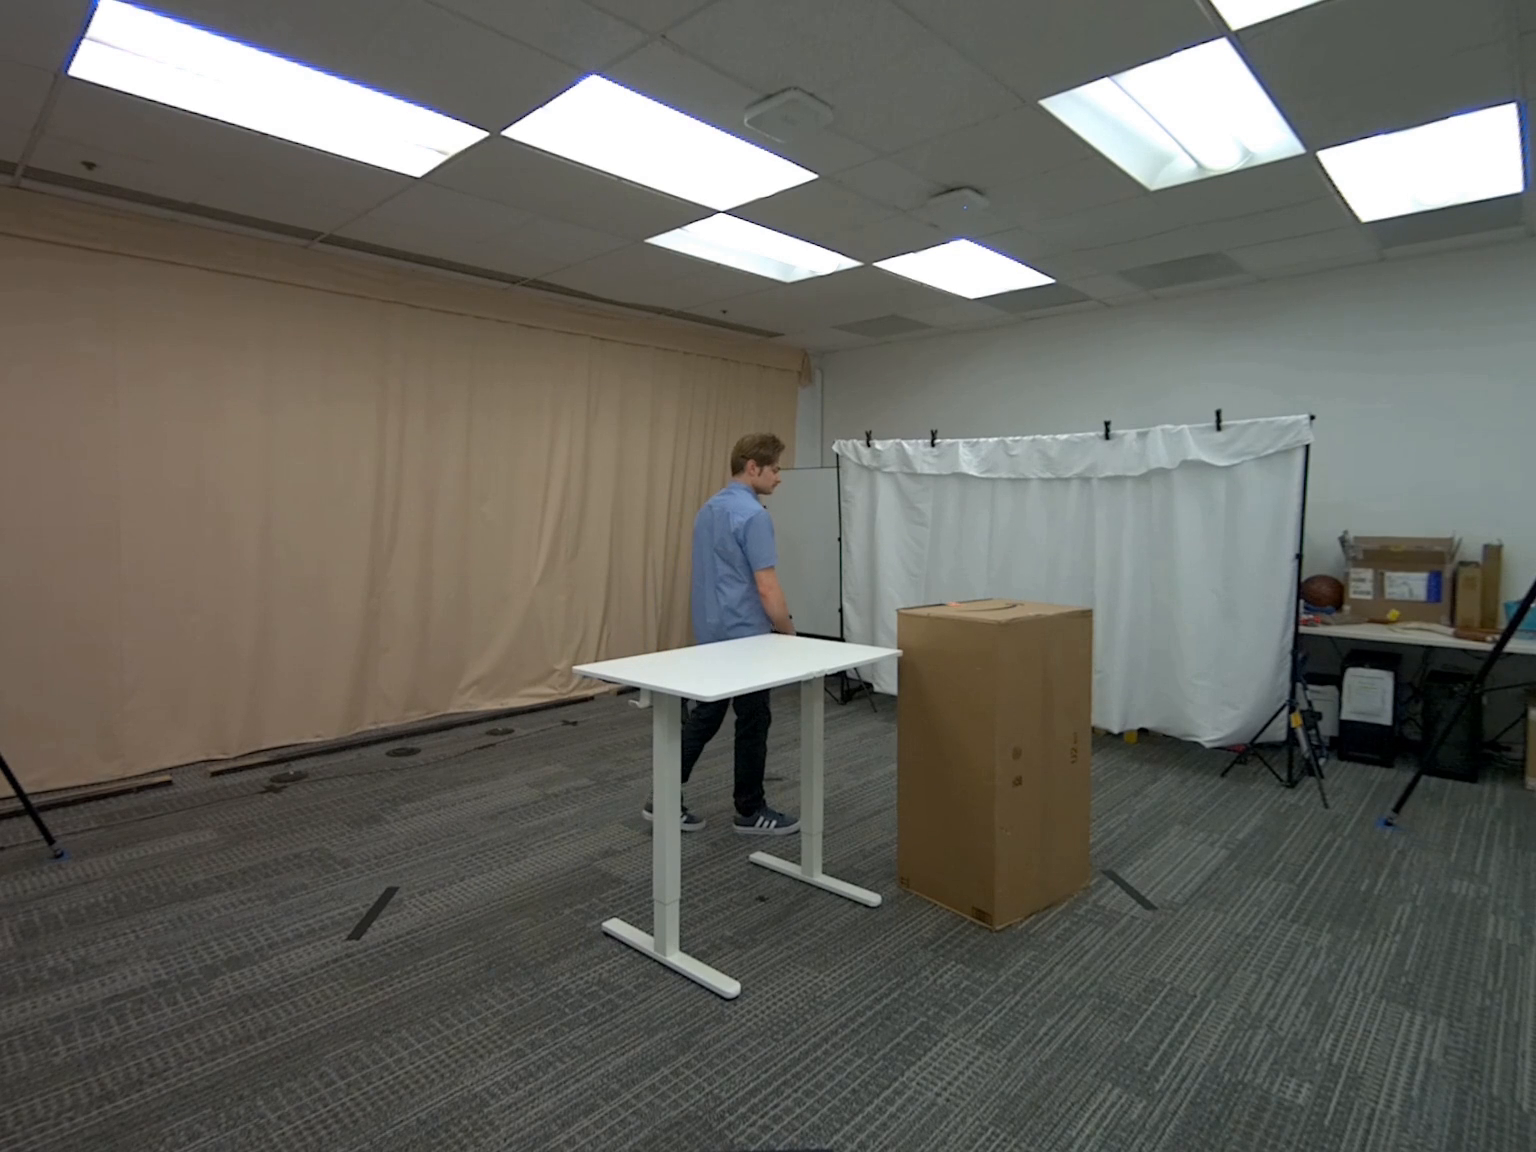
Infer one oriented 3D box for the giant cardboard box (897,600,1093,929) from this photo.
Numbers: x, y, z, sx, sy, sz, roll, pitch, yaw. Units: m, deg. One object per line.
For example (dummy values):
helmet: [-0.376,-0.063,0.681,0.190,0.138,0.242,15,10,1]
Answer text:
giant cardboard box: [0.823,0.626,3.055,0.560,1.024,0.440,-2,4,-38]
